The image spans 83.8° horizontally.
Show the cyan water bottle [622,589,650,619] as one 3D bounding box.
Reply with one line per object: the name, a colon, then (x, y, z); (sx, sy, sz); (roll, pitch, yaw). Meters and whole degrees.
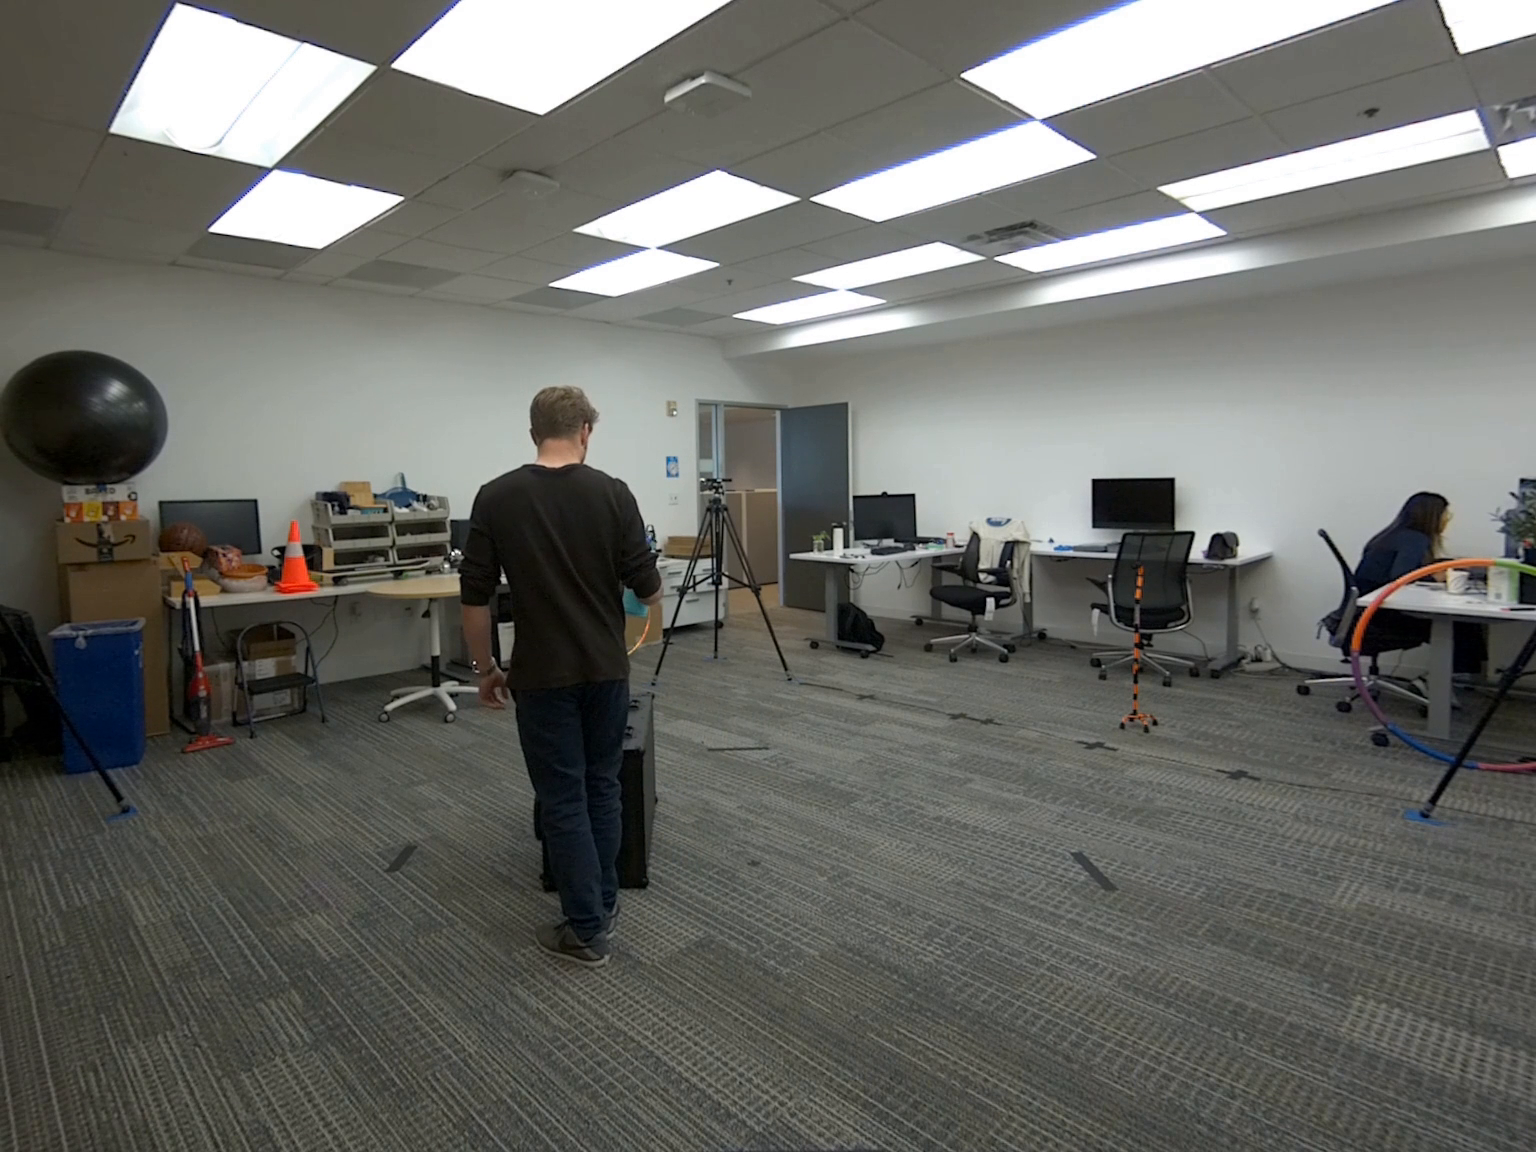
cyan water bottle: (-0.429, -0.008, 2.888); (0.092, 0.283, 0.092); (6, -1, -2)
